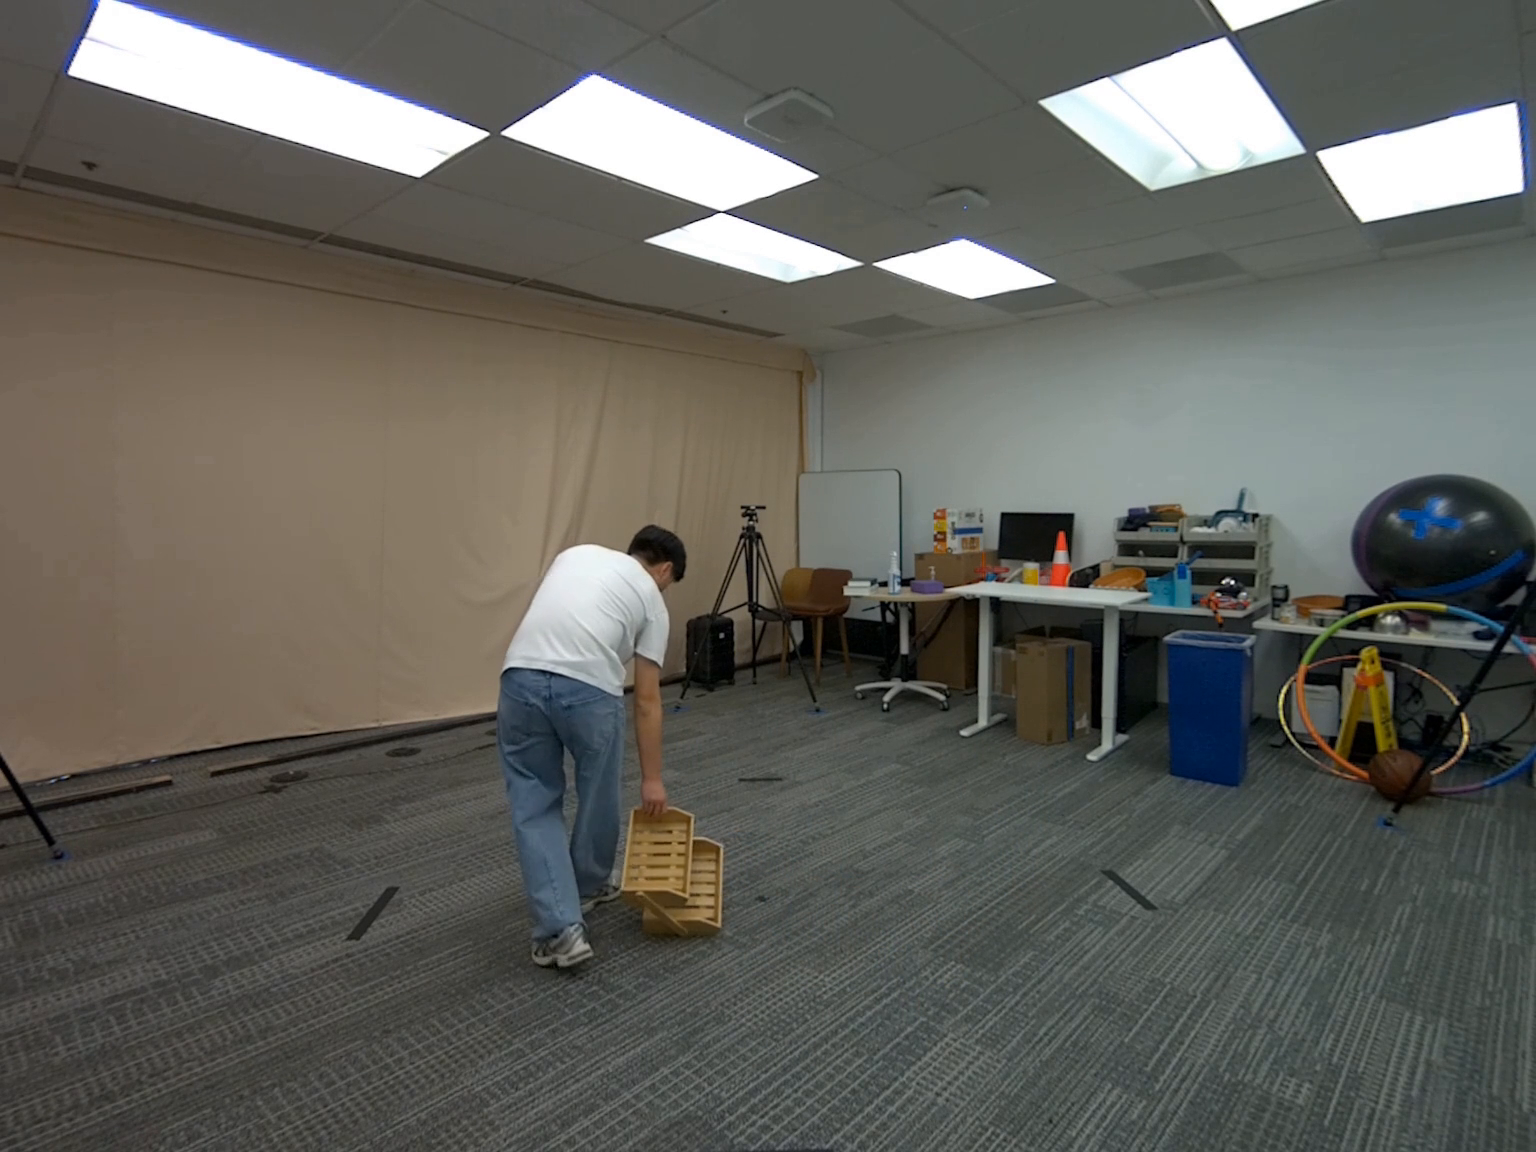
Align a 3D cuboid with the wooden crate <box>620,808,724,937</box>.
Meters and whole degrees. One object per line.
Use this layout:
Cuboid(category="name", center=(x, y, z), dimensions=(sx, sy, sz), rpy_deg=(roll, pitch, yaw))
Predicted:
Cuboid(category="wooden crate", center=(-0.300, 0.970, 2.768), dimensions=(0.303, 0.268, 0.330), rpy_deg=(-1, 39, 1))
